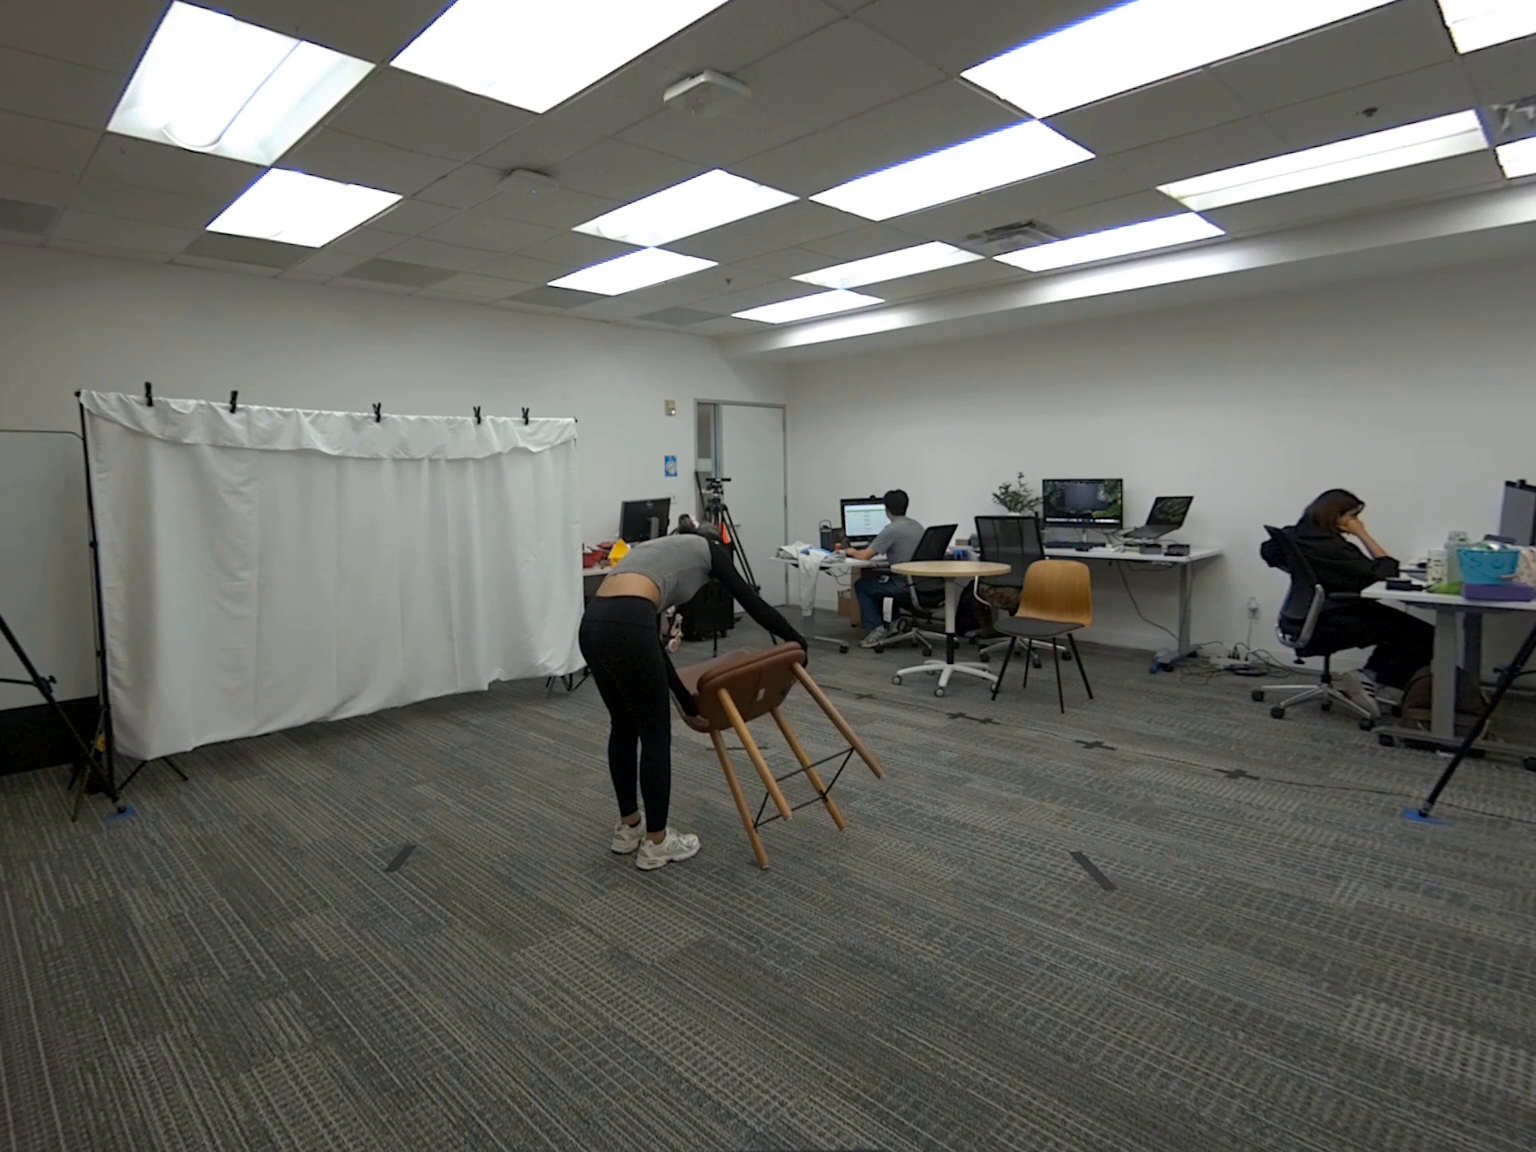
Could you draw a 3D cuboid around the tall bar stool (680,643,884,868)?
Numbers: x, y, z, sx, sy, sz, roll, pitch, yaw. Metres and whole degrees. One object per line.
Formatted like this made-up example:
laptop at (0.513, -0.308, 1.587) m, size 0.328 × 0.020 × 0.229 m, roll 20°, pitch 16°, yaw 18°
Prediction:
tall bar stool at (-0.024, 0.554, 3.215) m, size 0.449 × 0.458 × 0.922 m, roll -15°, pitch 53°, yaw -25°
